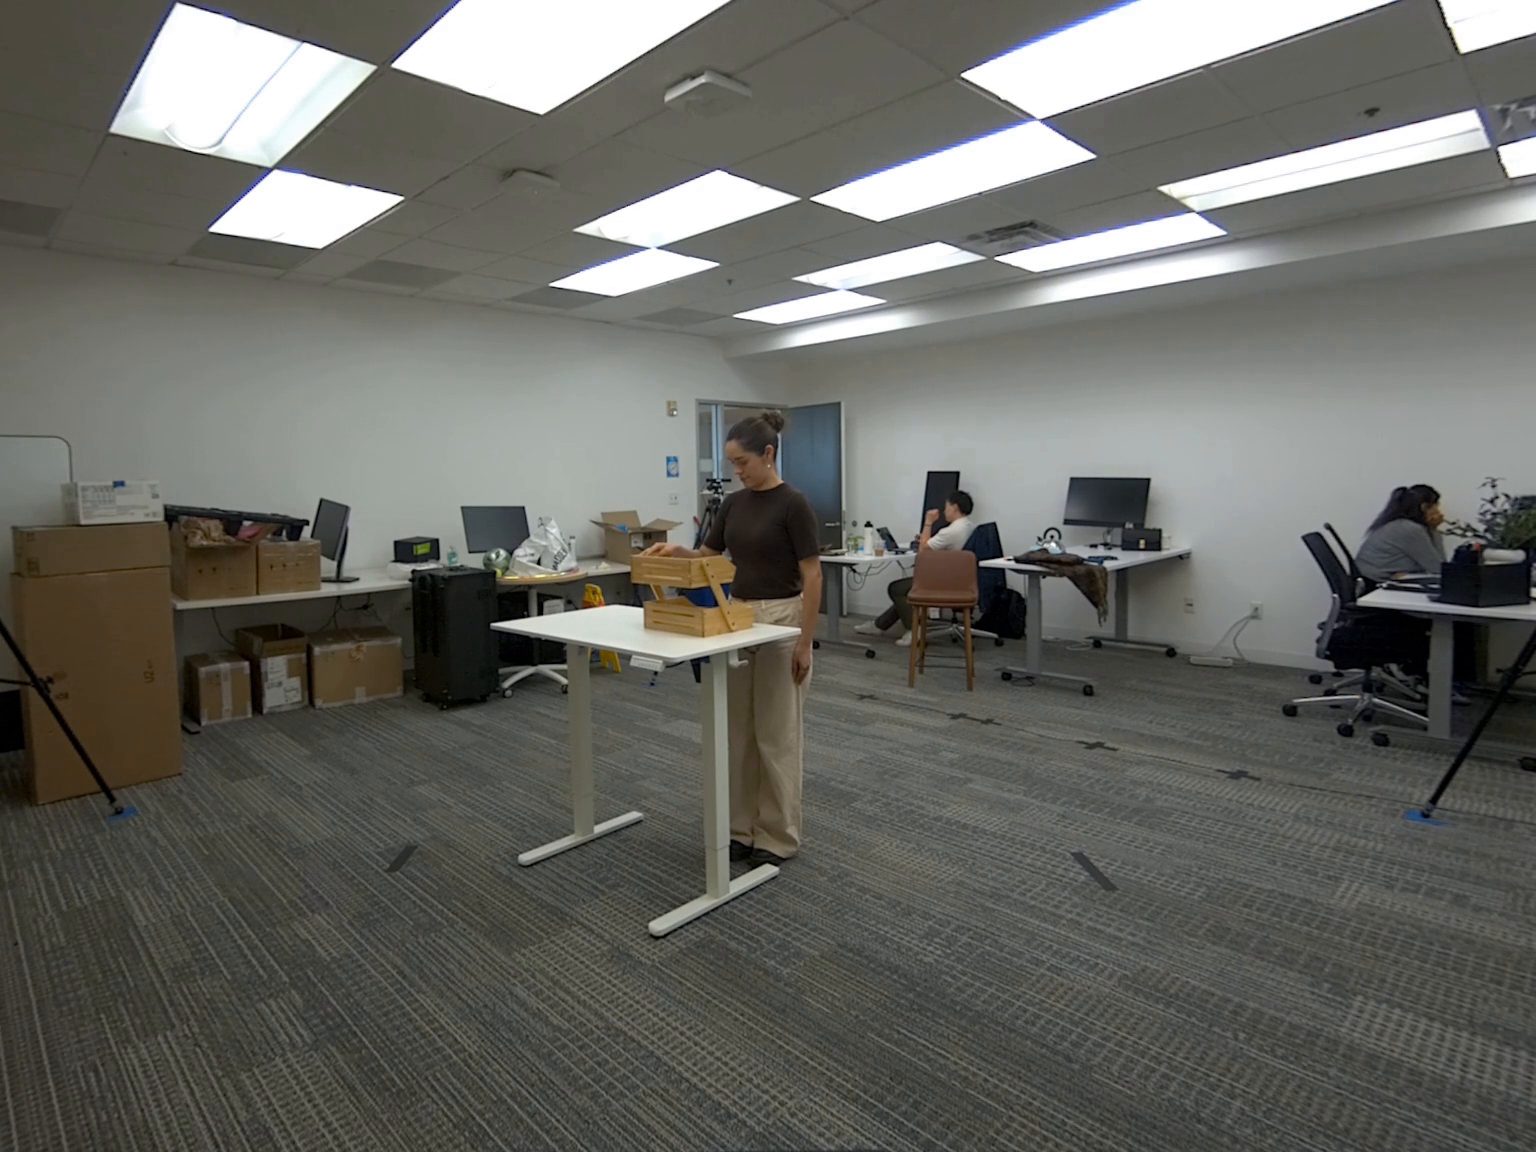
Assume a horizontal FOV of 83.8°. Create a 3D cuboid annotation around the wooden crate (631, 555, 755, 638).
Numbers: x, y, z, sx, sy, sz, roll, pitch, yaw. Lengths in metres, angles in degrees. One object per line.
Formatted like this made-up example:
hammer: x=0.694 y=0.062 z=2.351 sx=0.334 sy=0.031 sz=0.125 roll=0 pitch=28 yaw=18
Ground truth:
wooden crate: x=-0.255 y=0.049 z=2.941 sx=0.334 sy=0.272 sz=0.294 roll=3 pitch=8 yaw=43
